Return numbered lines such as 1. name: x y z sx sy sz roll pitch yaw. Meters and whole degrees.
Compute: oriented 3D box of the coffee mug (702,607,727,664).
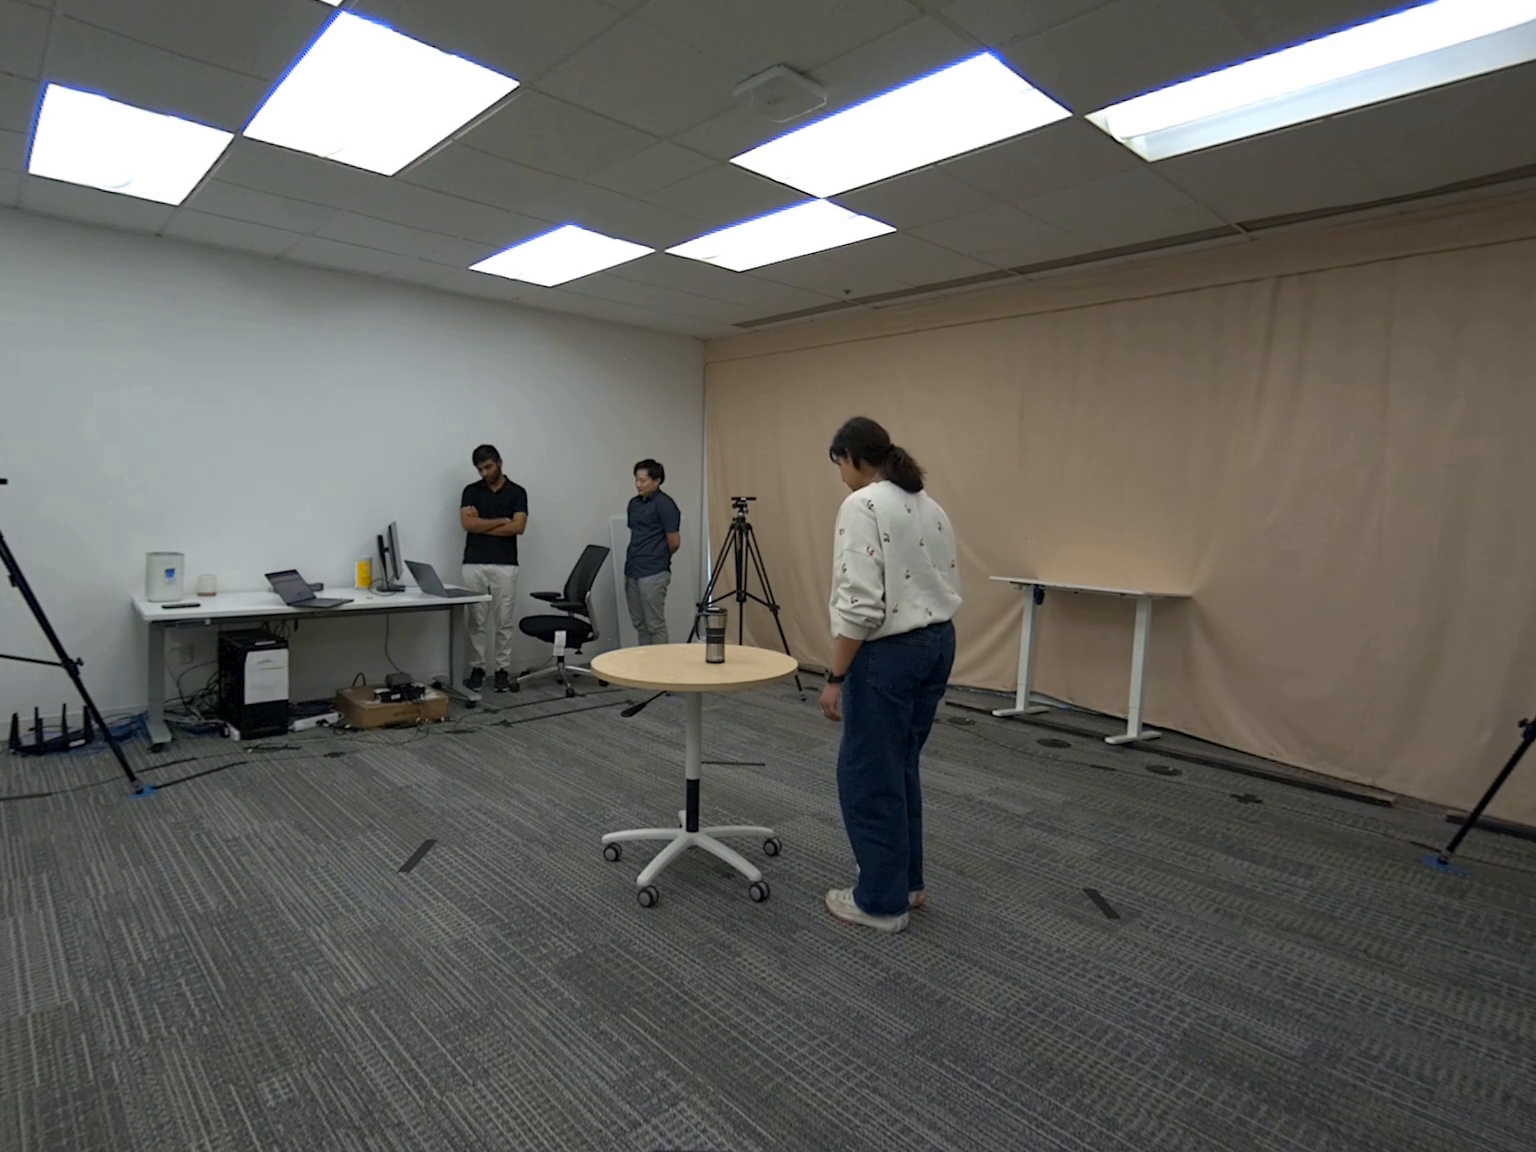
1. coffee mug: -0.216 0.220 3.132 0.125 0.202 0.086 9 9 34
